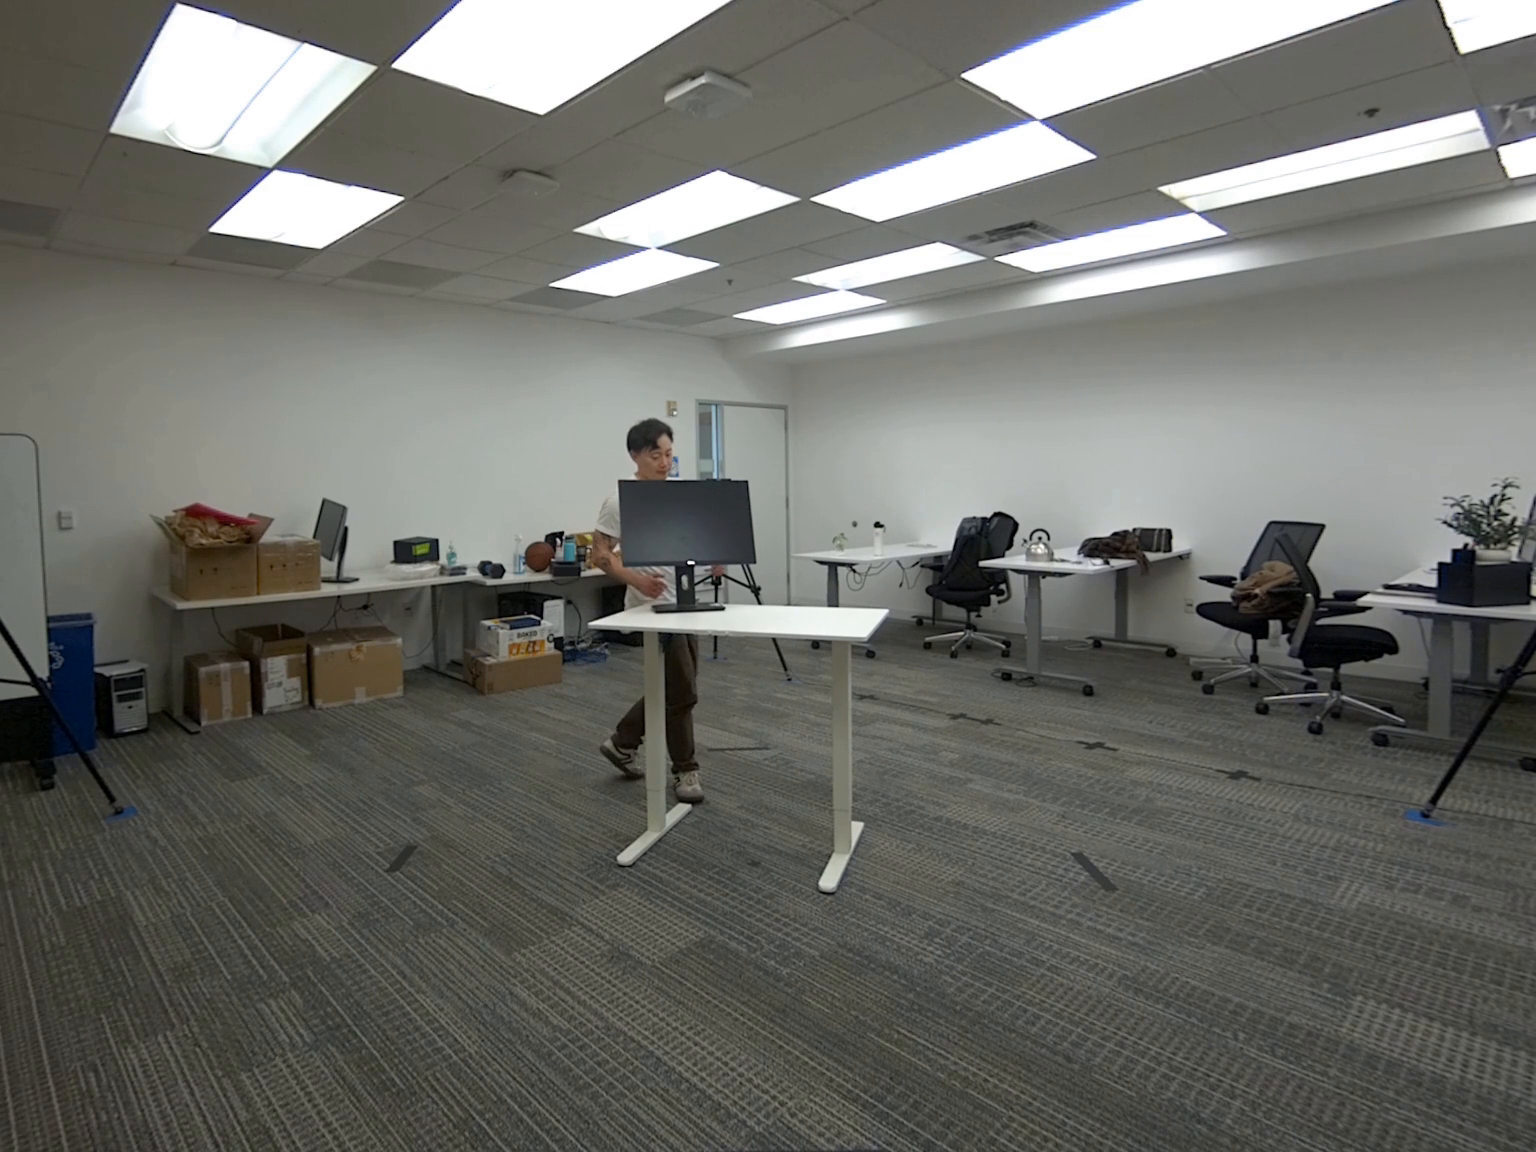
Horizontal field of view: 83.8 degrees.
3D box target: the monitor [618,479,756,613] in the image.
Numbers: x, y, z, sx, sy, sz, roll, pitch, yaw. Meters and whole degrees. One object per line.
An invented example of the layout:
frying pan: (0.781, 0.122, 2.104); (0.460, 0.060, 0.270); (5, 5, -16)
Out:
monitor: (-0.329, -0.123, 3.411); (0.530, 0.522, 0.190); (-1, 1, -17)
